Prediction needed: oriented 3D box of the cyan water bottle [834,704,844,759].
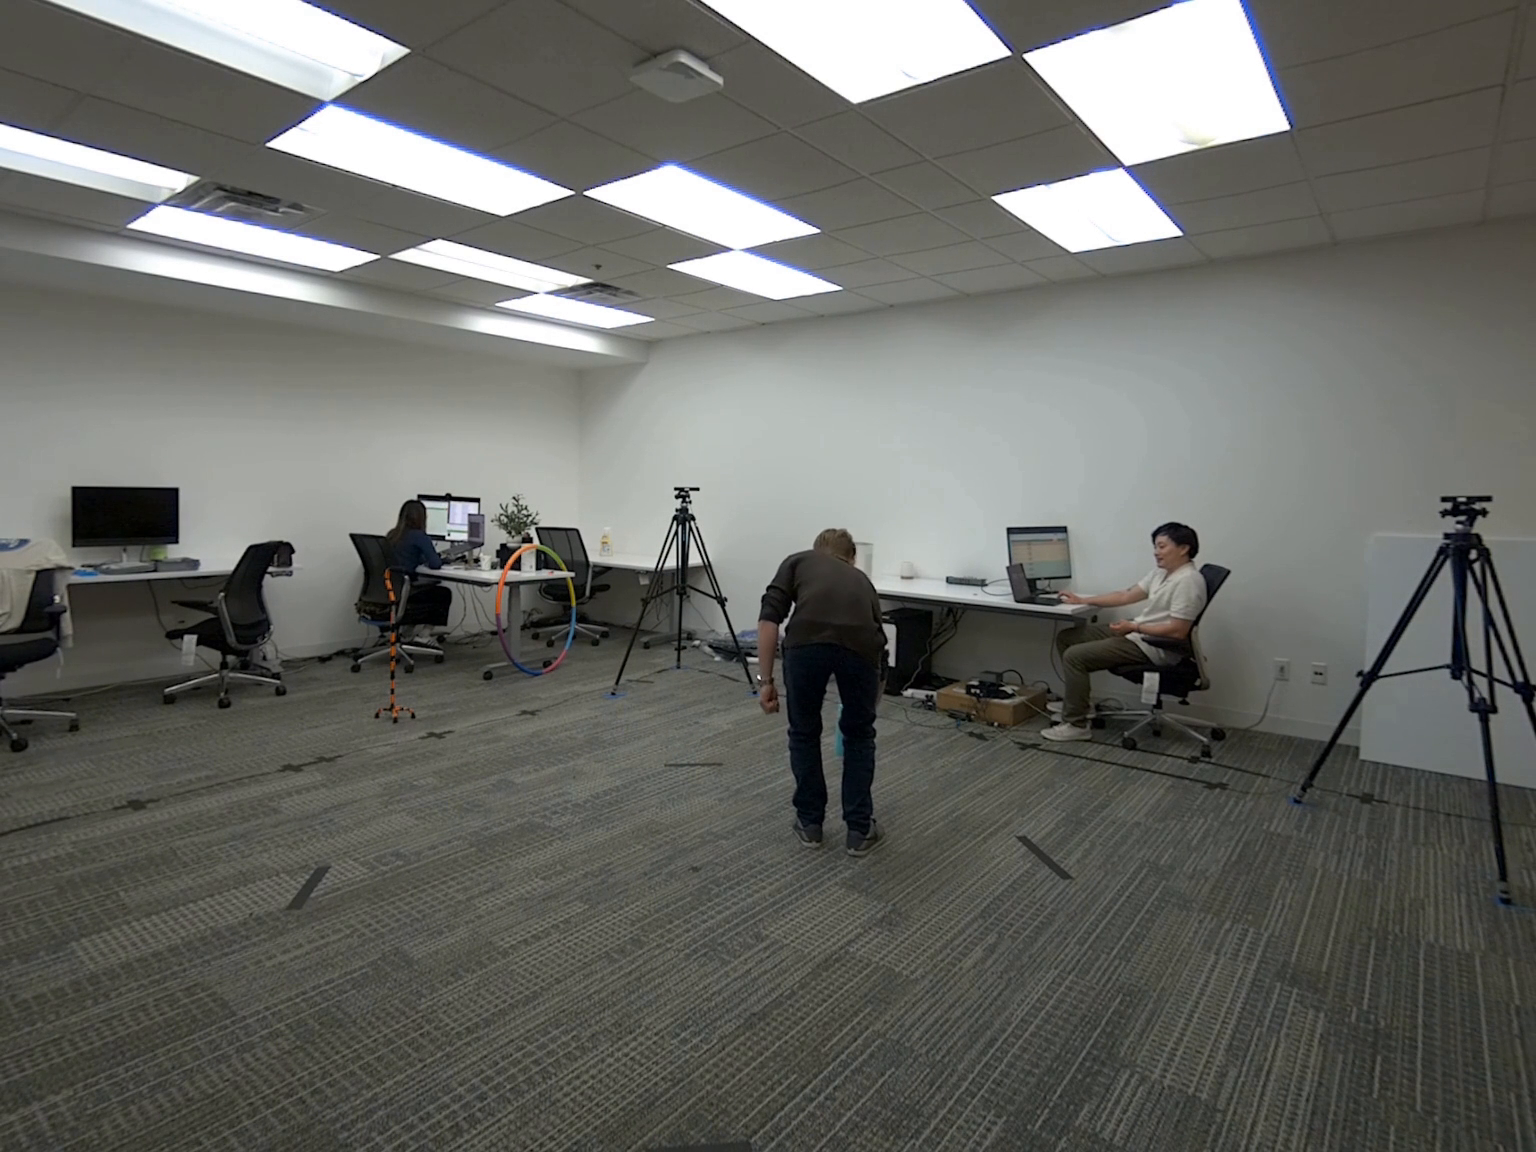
[{"bbox_3d":[0.346,0.646,3.772,0.092,0.285,0.092,6,-7,-1],"label":"cyan water bottle"}]
